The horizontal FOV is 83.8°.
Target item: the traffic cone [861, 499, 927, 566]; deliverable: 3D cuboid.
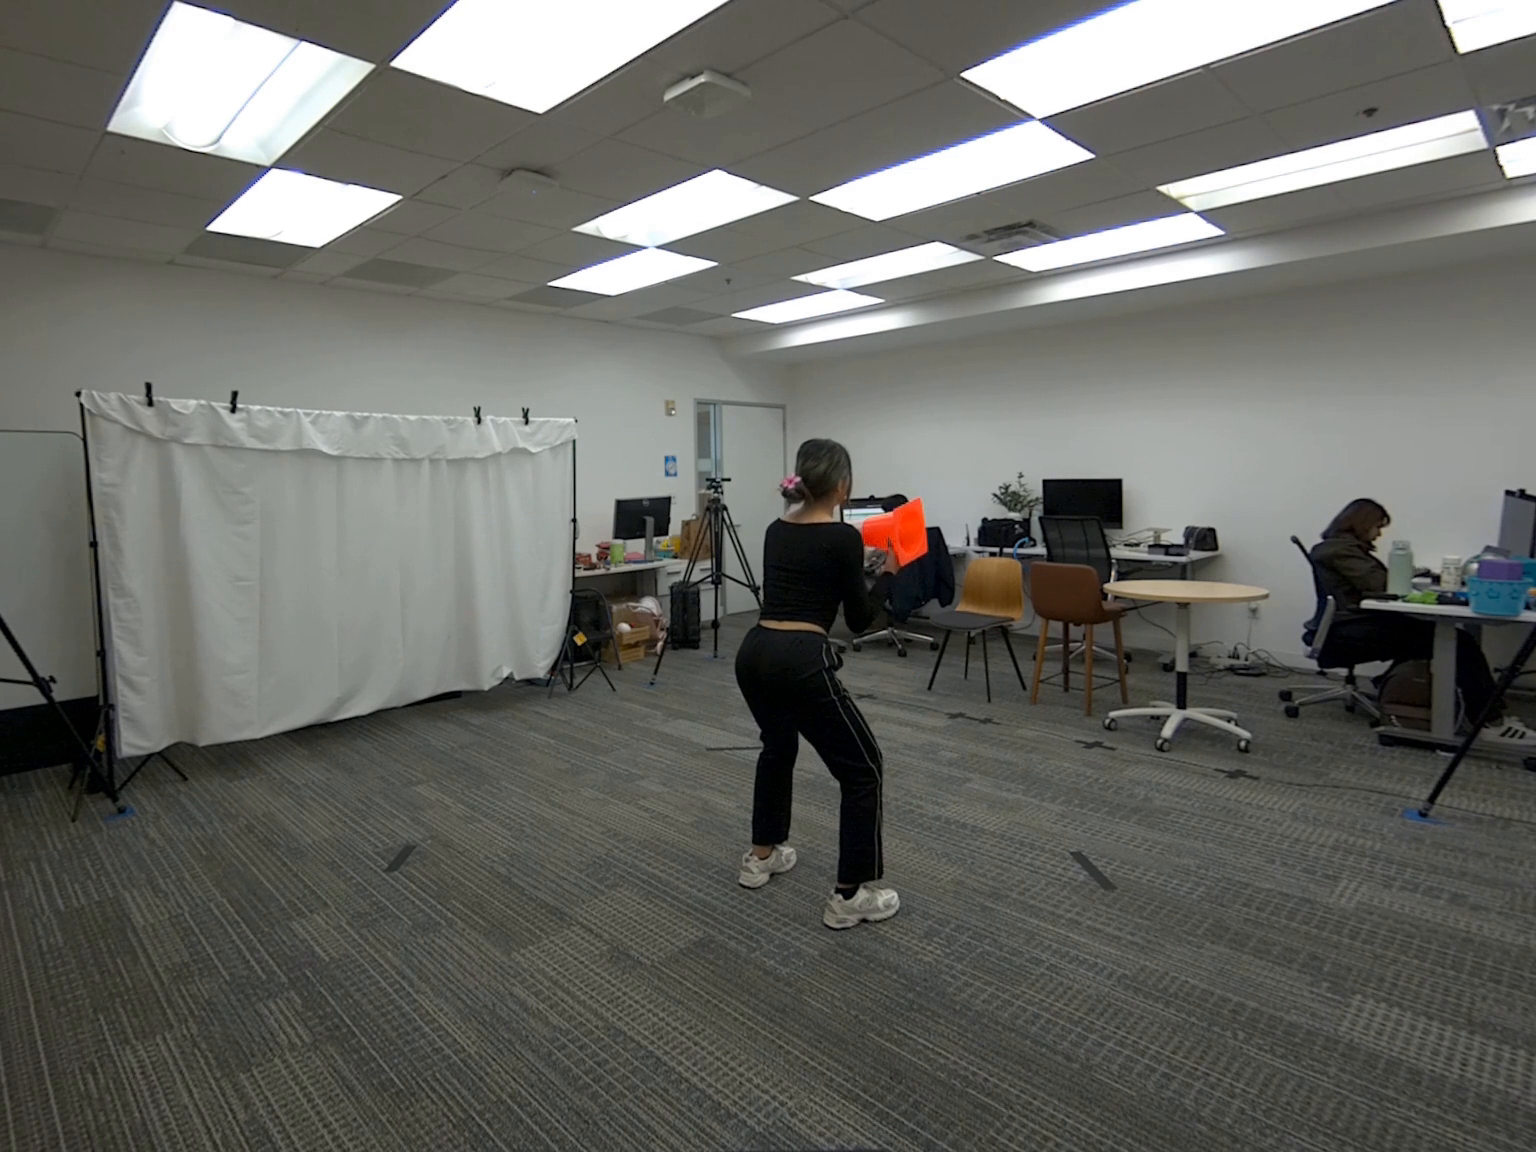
[{"bbox_3d":[0.352,-0.159,3.053,0.395,0.202,0.200,3,18,42],"label":"traffic cone"}]
